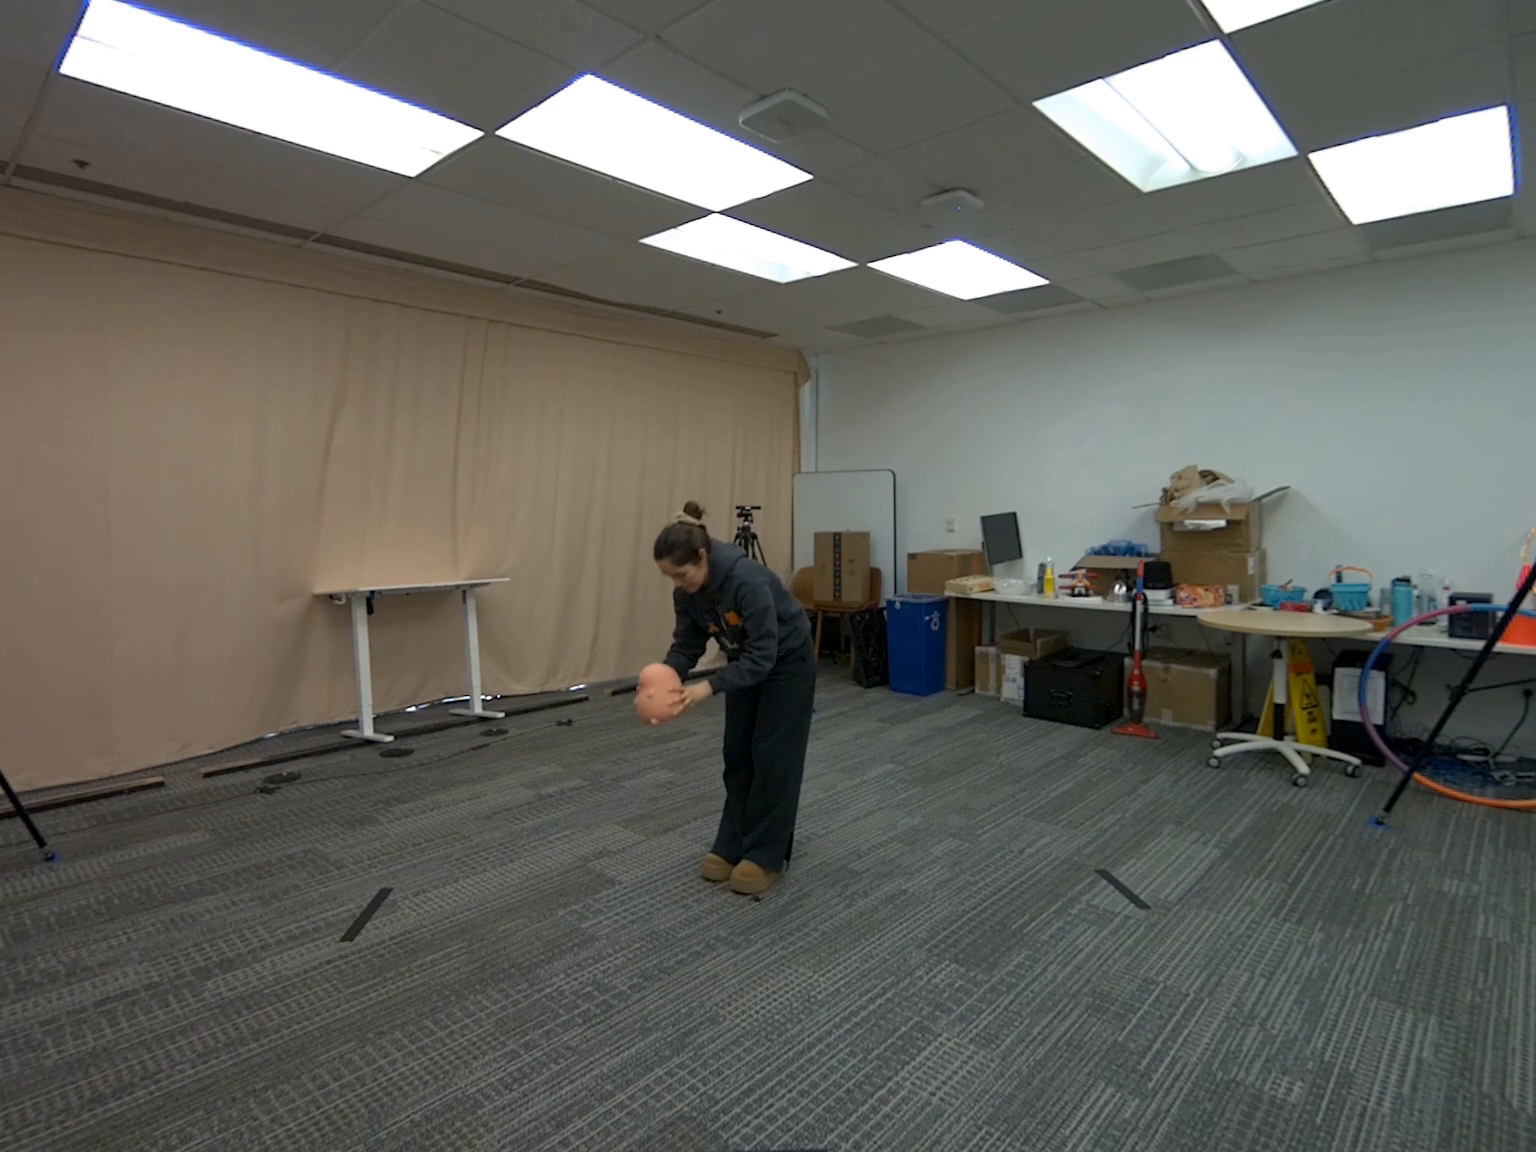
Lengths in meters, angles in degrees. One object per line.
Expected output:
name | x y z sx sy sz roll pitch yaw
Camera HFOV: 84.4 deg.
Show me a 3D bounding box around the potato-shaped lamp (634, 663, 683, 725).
potato-shaped lamp | -0.345 0.378 2.921 0.168 0.200 0.165 -30 -10 -31
